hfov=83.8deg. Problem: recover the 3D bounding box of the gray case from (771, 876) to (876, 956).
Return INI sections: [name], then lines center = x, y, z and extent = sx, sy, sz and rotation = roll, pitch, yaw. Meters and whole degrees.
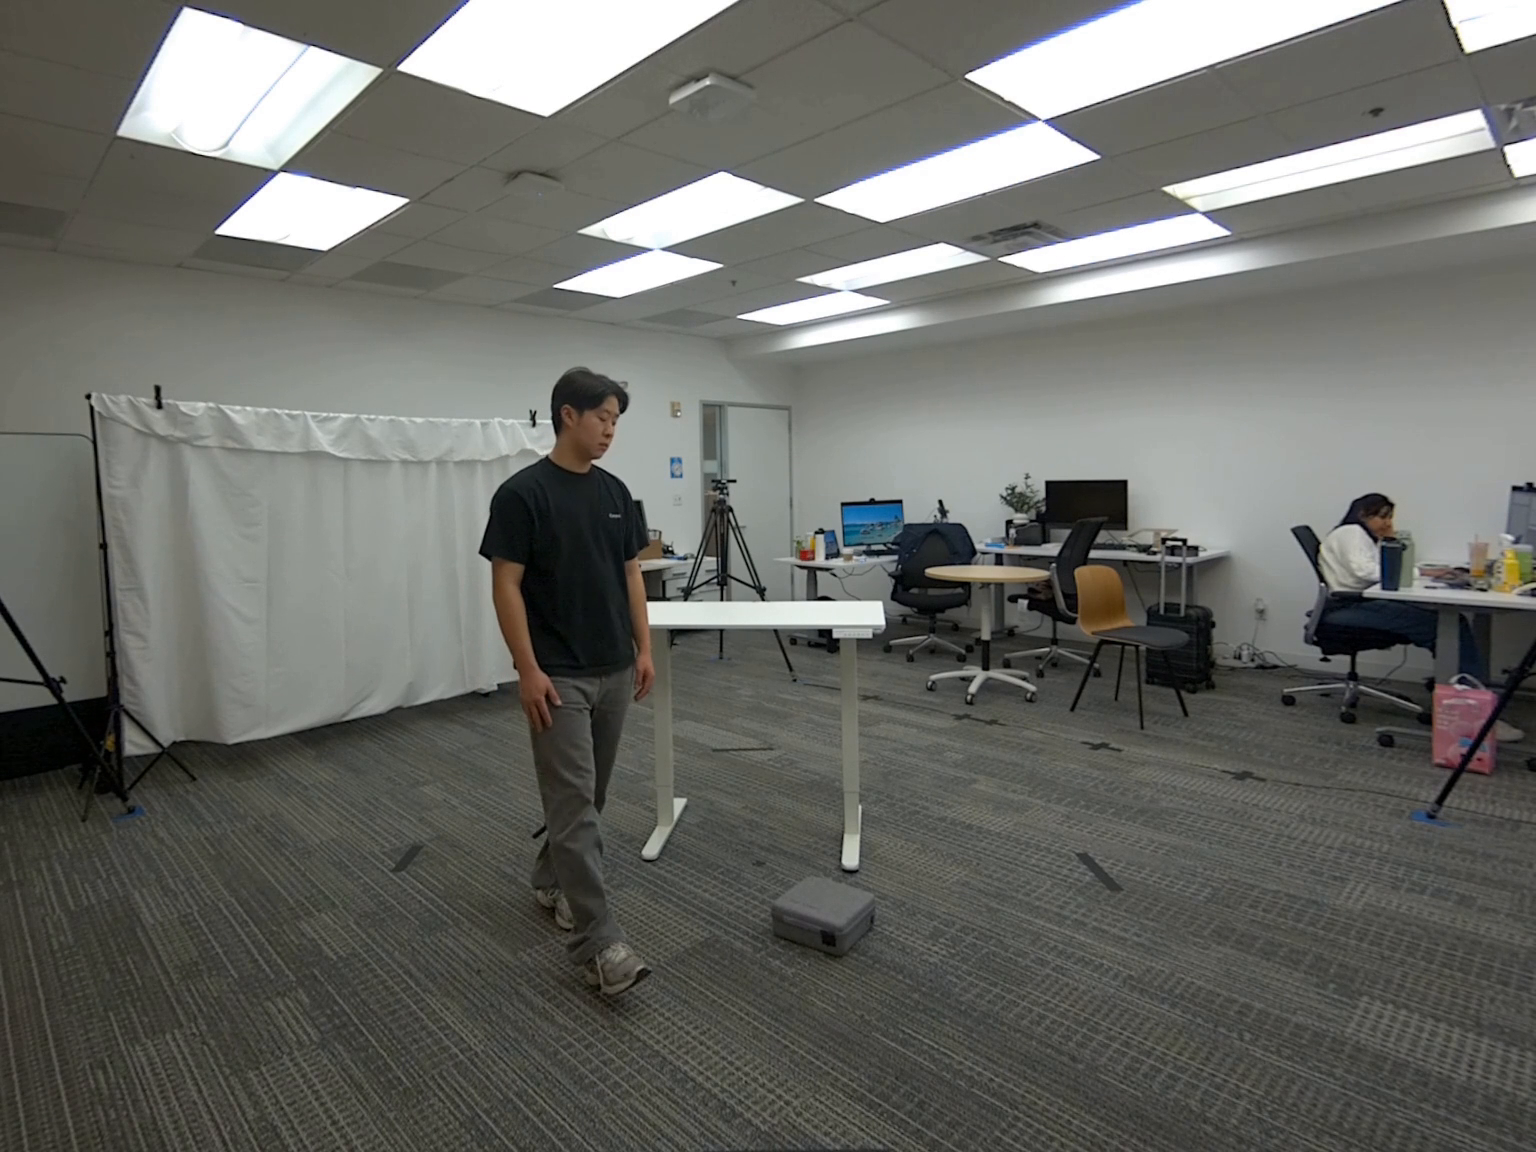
[gray case]
center = 0.185, 1.042, 2.650
extent = 0.271, 0.103, 0.280
rotation = 3, 6, 35
